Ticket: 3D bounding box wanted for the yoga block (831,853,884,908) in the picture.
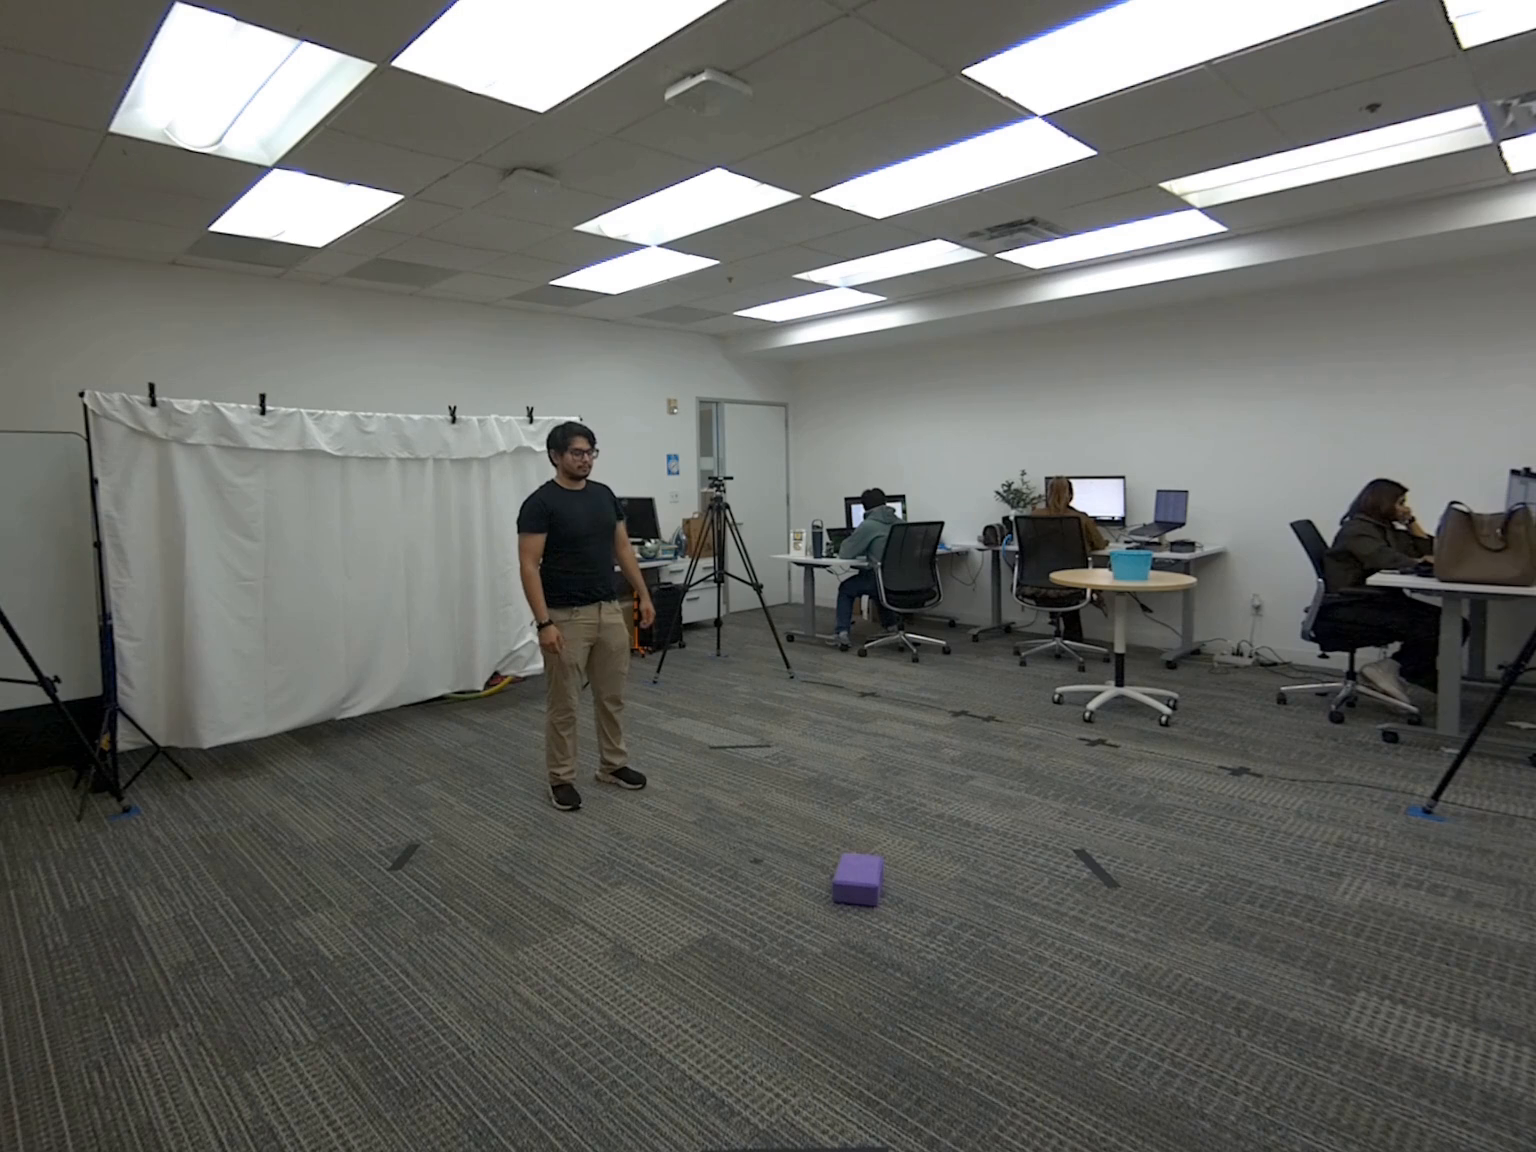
[{"bbox_3d":[0.309,1.015,2.875,0.151,0.076,0.227,-1,7,14],"label":"yoga block"}]
